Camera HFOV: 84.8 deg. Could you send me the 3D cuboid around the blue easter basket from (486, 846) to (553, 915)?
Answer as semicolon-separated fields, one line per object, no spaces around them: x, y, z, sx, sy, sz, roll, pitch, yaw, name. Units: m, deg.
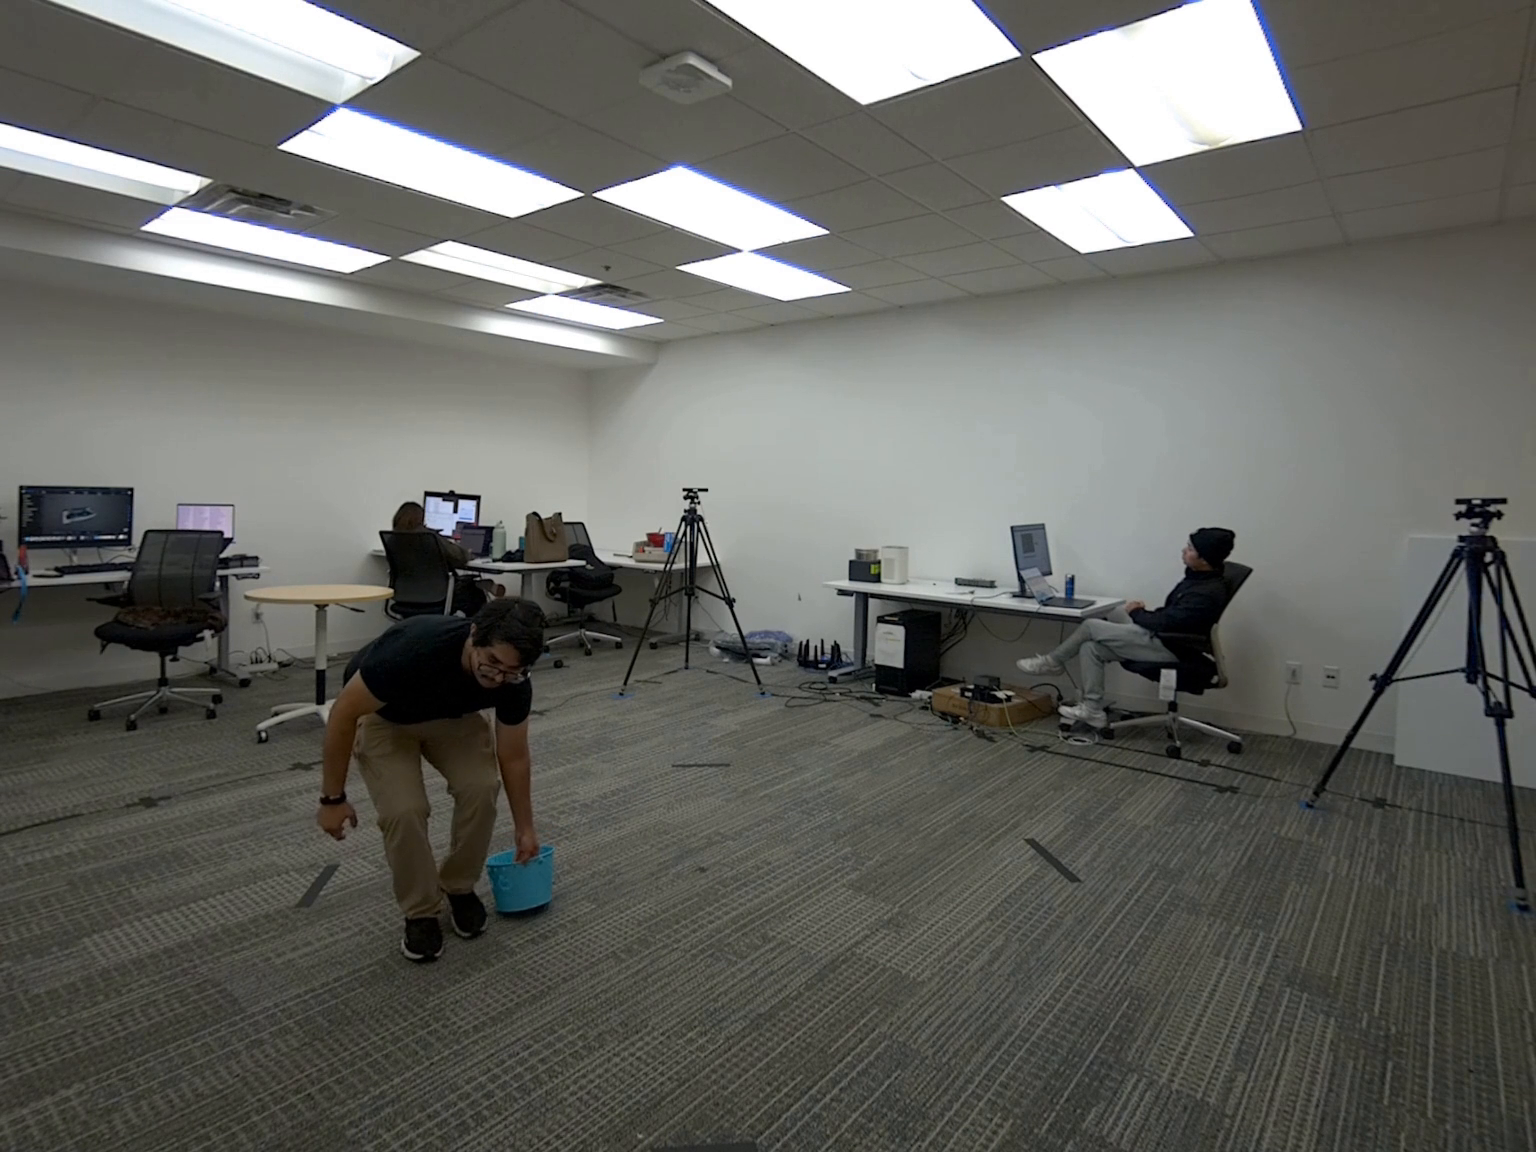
-0.814;1.002;2.801;0.243;0.157;0.243;-7;-3;-2;blue easter basket
